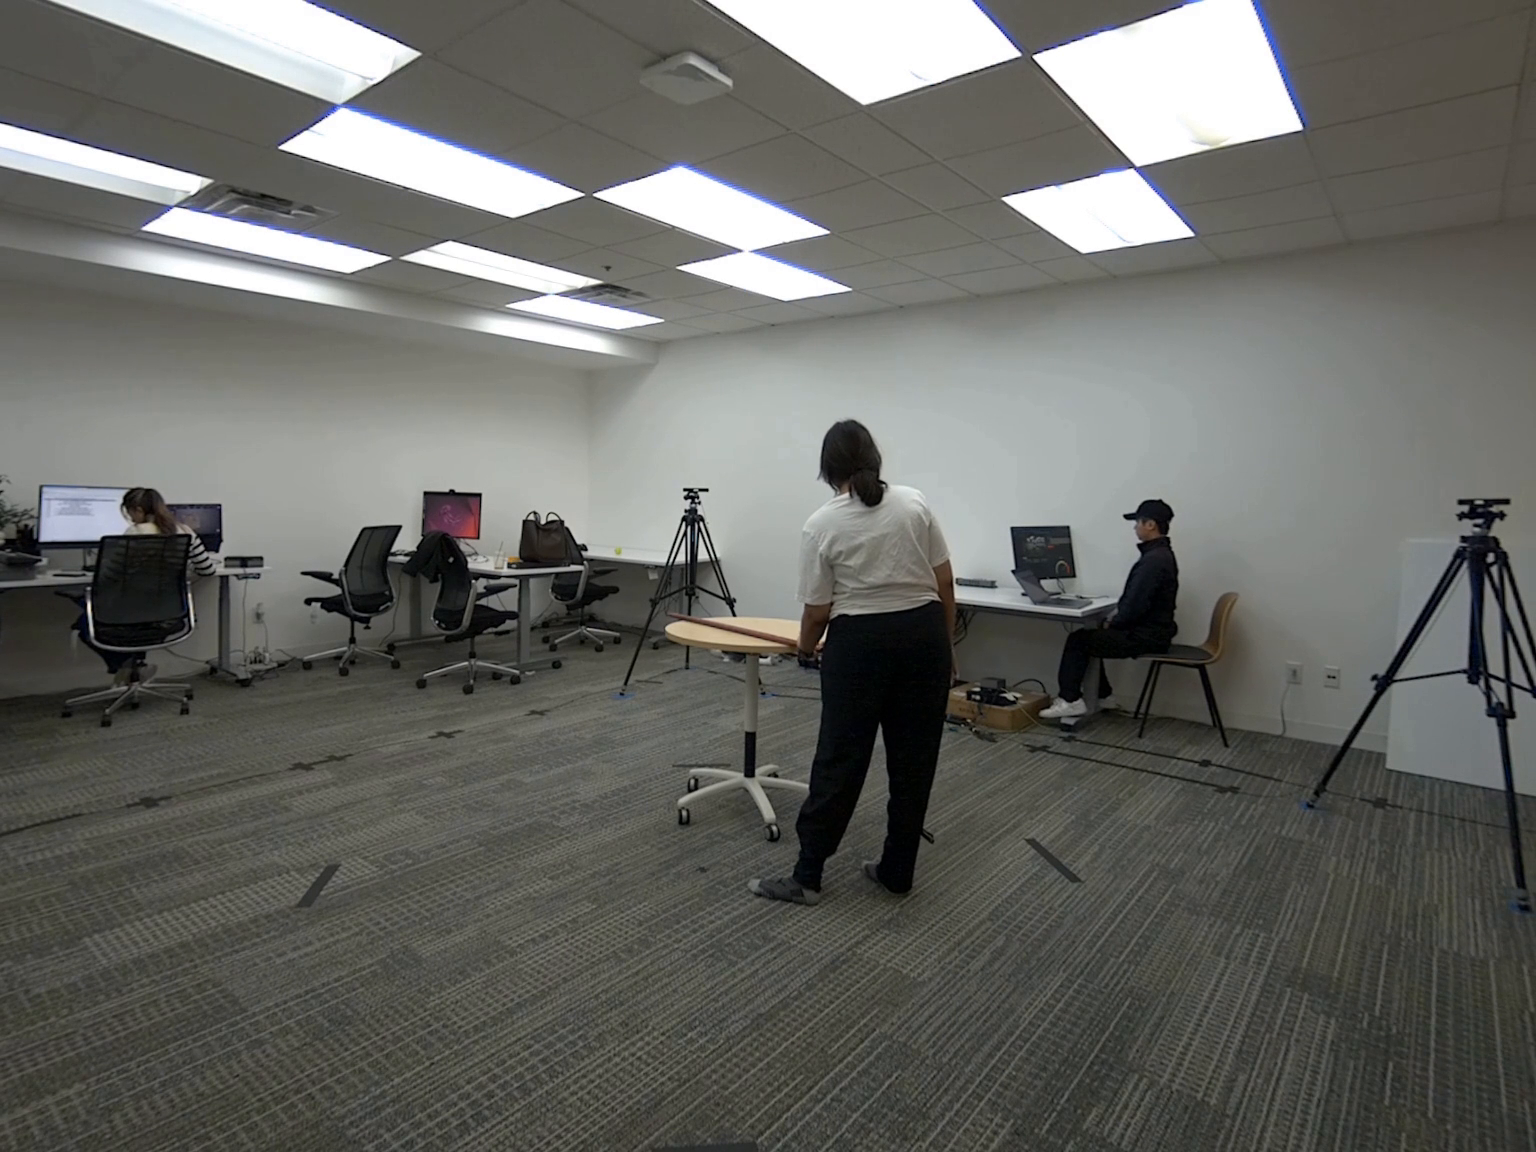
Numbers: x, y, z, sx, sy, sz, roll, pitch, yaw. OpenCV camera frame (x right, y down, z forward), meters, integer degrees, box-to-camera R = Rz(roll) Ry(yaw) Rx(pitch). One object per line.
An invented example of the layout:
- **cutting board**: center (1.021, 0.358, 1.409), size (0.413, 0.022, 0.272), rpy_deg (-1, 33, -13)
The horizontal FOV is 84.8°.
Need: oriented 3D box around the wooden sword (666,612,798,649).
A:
- **wooden sword**: center (-0.141, 0.228, 3.562), size (0.051, 0.023, 1.059), rpy_deg (-43, 28, -24)
